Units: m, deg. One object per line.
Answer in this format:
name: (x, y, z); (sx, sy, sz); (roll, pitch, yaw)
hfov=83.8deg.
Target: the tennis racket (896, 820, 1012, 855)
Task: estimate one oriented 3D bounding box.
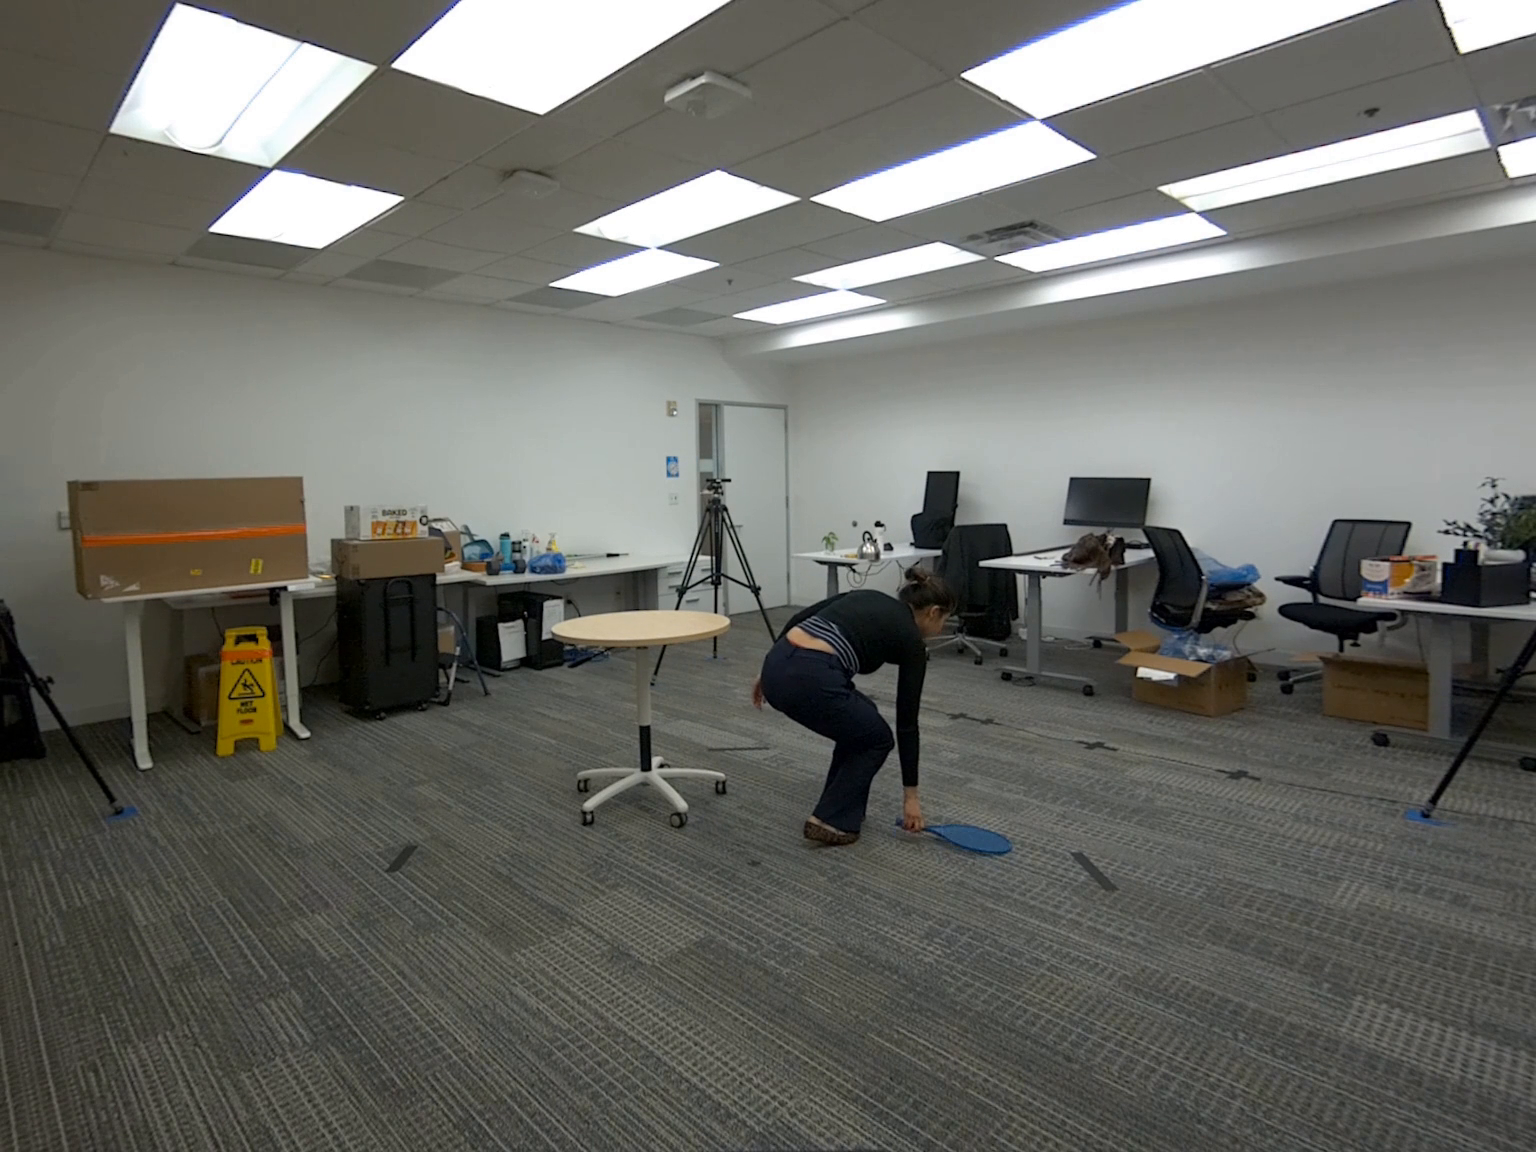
tennis racket: (0.714, 0.984, 3.258); (0.440, 0.031, 0.211); (8, 8, 14)
